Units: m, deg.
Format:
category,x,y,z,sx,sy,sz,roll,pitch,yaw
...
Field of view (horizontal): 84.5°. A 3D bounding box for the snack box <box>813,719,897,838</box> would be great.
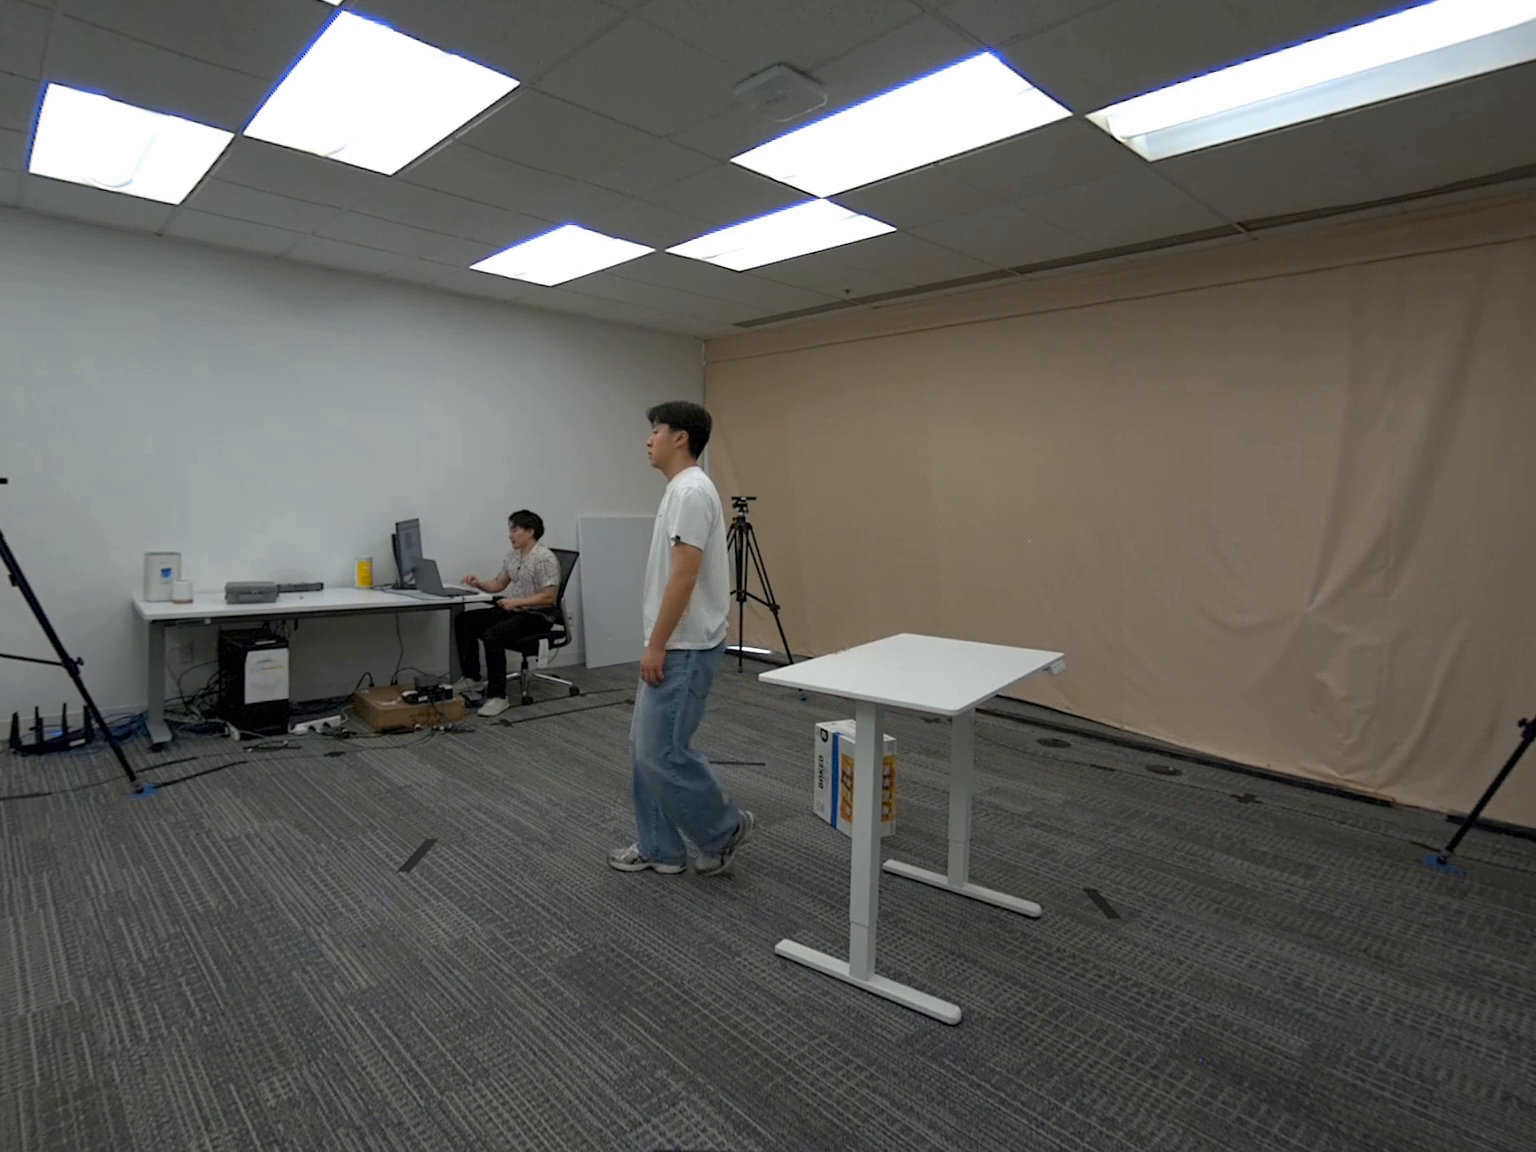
category,x,y,z,sx,sy,sz,roll,pitch,yaw
snack box,0.364,0.870,3.635,0.202,0.404,0.347,0,4,-26
